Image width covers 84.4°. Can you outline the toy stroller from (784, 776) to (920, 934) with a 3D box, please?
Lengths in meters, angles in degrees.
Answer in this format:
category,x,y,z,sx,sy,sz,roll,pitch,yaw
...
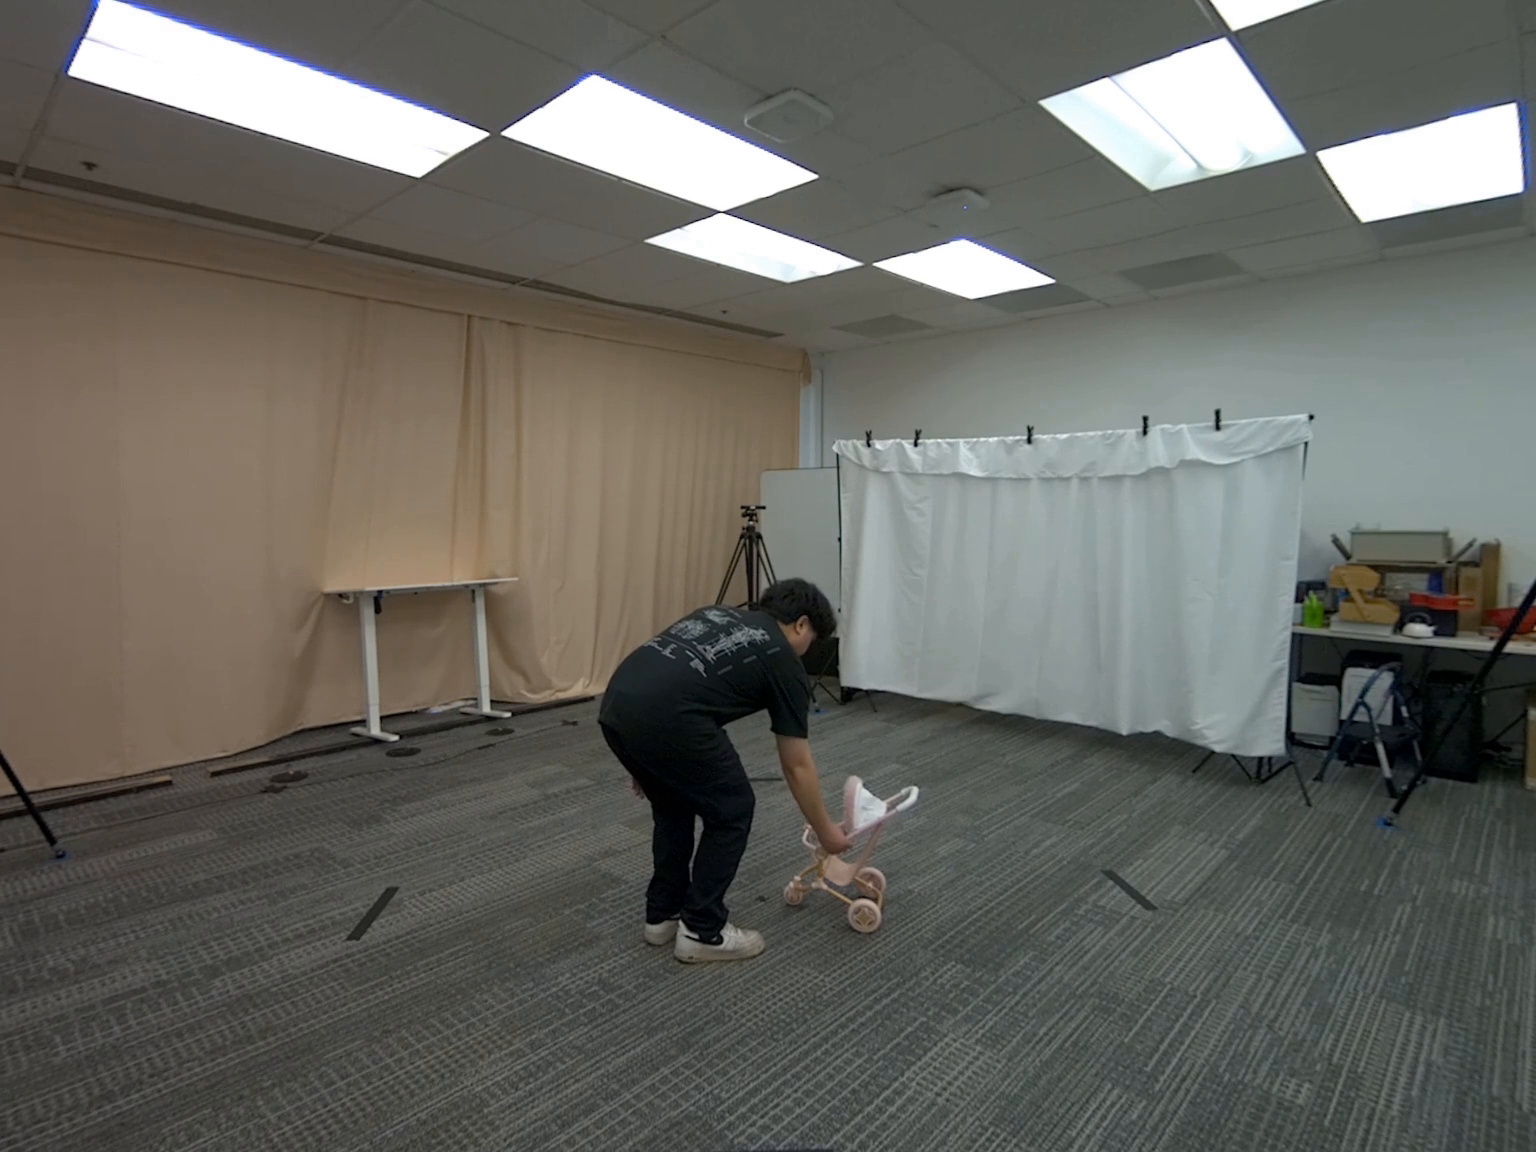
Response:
category,x,y,z,sx,sy,sz,roll,pitch,yaw
toy stroller,0.277,0.925,2.881,0.348,0.533,0.276,16,8,17
